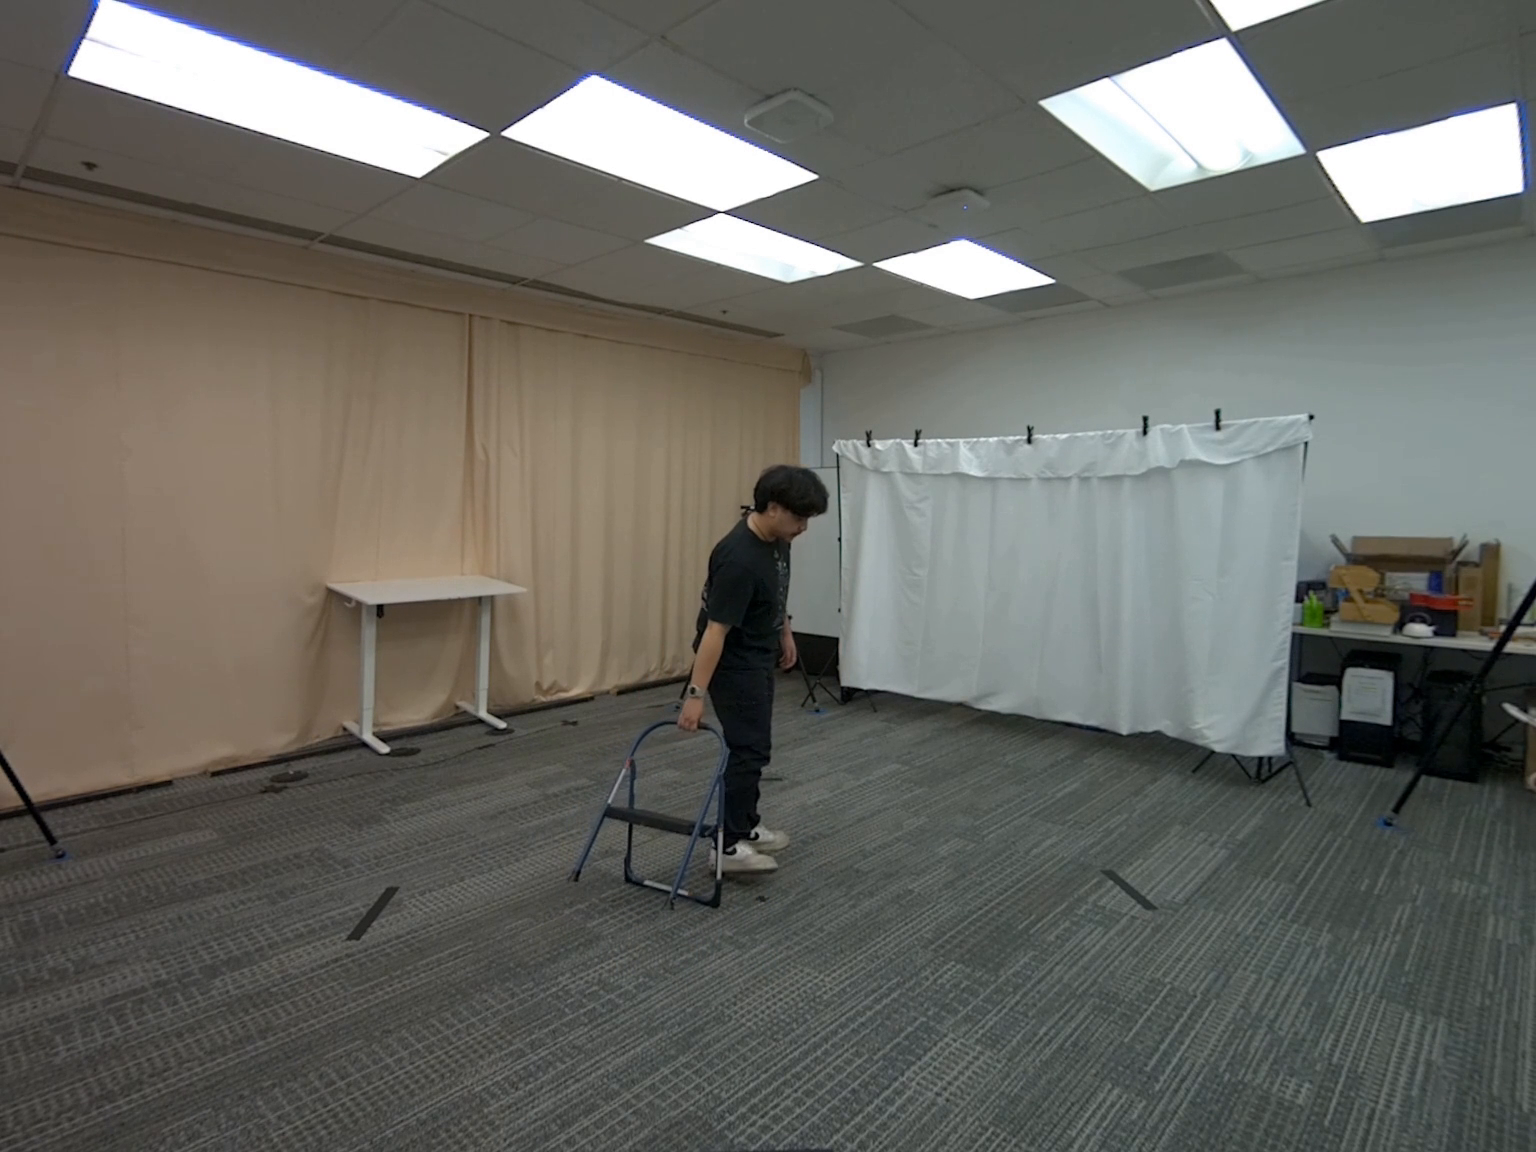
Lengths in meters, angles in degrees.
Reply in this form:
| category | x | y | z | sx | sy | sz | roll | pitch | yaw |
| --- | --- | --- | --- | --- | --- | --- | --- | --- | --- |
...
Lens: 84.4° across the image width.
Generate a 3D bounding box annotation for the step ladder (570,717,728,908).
| category | x | y | z | sx | sy | sz | roll | pitch | yaw |
| --- | --- | --- | --- | --- | --- | --- | --- | --- | --- |
| step ladder | -0.367 | 0.805 | 2.974 | 0.443 | 0.610 | 0.337 | 2 | -18 | 30 |
